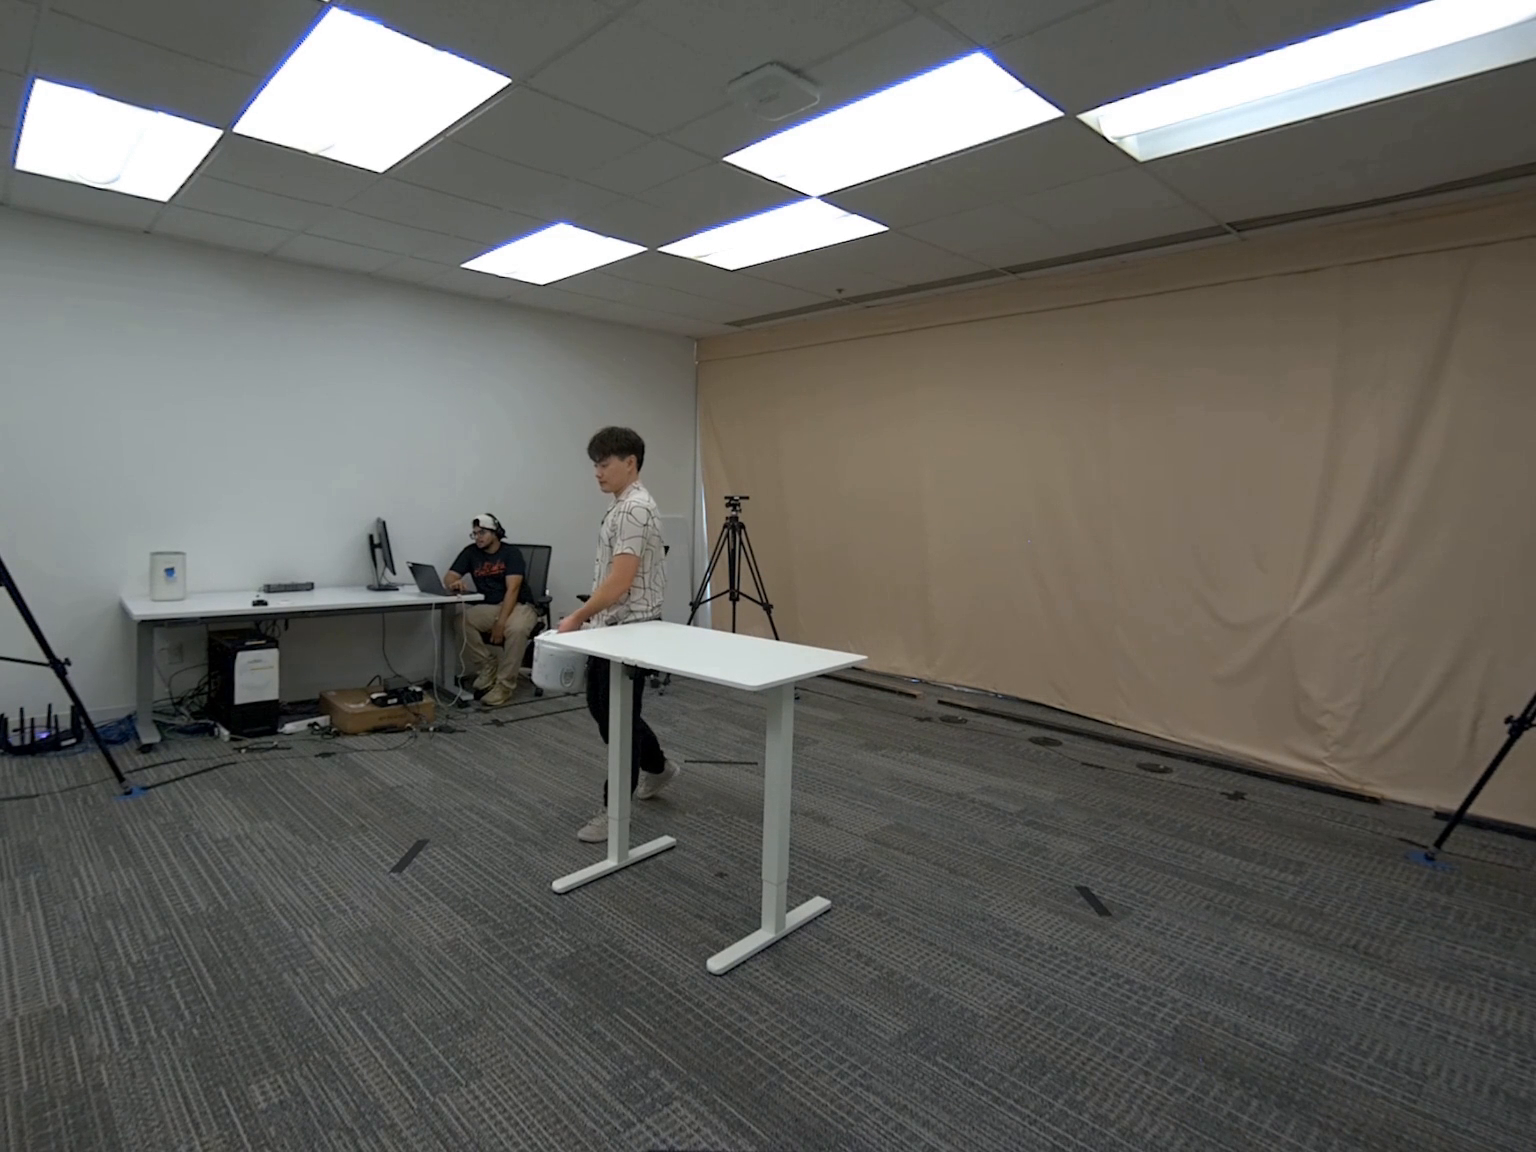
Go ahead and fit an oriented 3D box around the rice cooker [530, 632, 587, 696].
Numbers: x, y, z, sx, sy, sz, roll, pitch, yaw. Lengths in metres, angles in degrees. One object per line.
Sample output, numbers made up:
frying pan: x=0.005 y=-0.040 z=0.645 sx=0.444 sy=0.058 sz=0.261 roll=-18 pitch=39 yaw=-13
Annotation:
rice cooker: x=-0.830 y=0.322 z=3.344 sx=0.216 sy=0.231 sz=0.224 roll=1 pitch=16 yaw=-31
